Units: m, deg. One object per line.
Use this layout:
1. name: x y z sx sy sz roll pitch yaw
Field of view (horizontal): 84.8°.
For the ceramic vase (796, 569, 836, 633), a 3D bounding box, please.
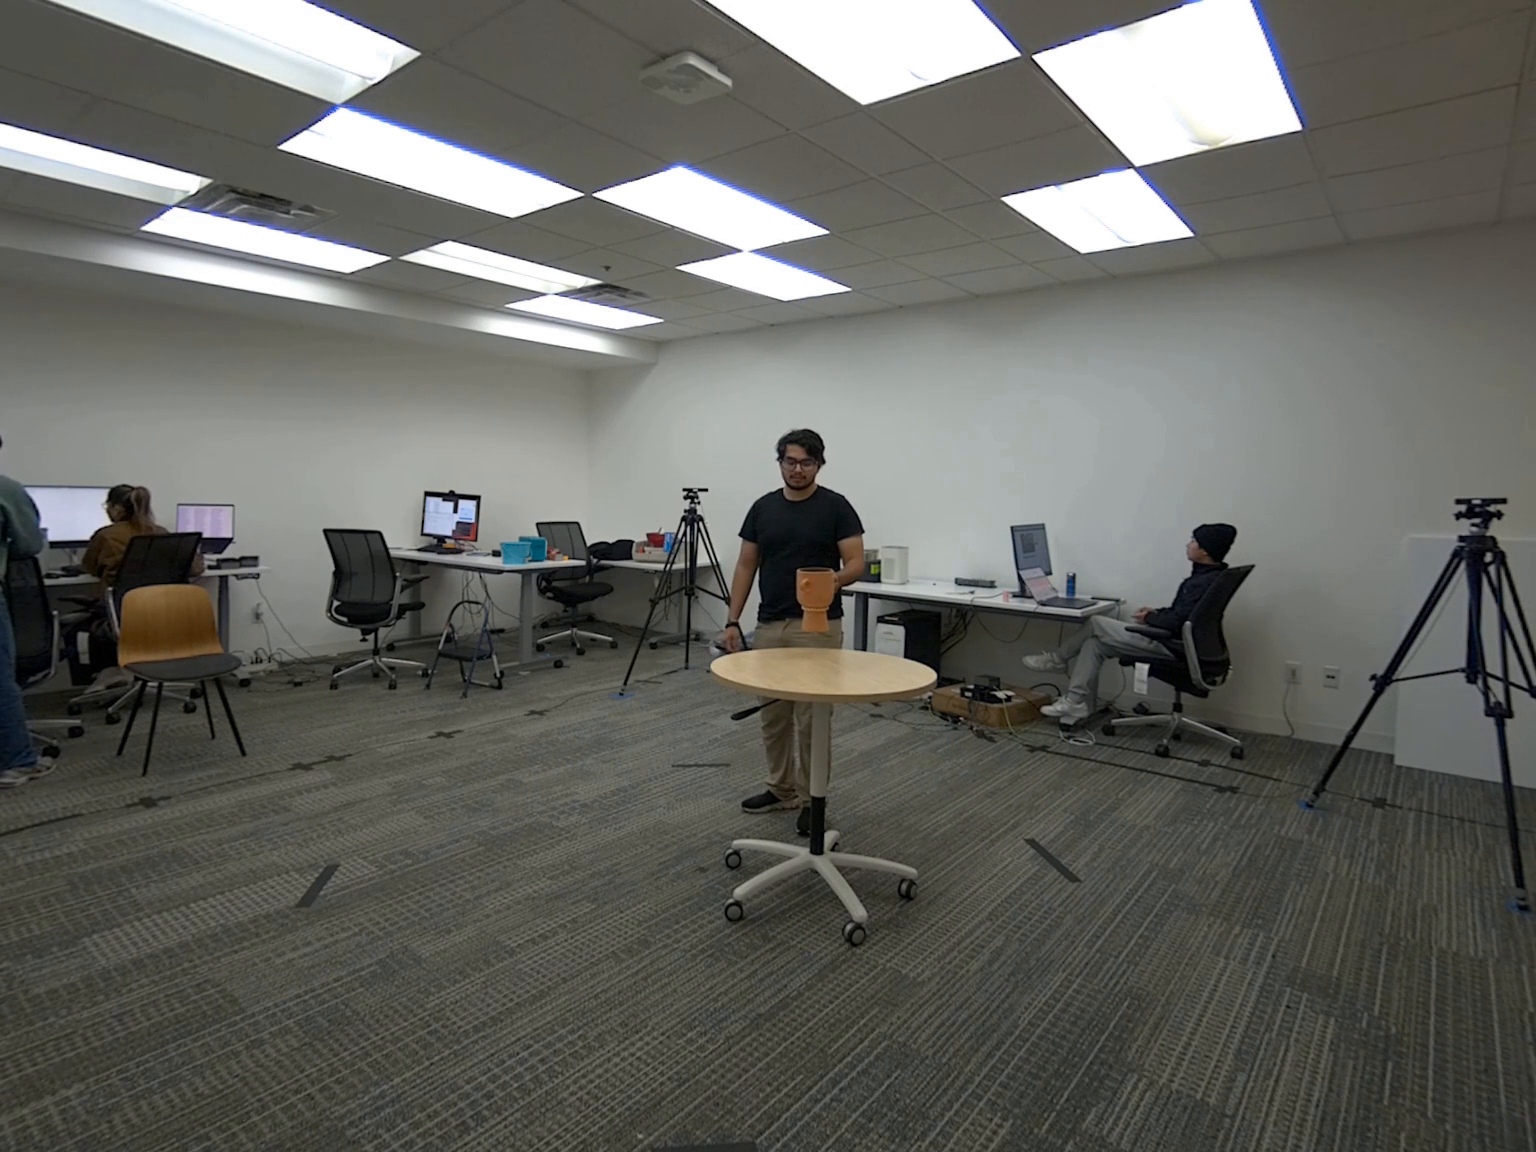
1. ceramic vase: 0.160 0.082 3.104 0.156 0.218 0.137 -2 7 -16
